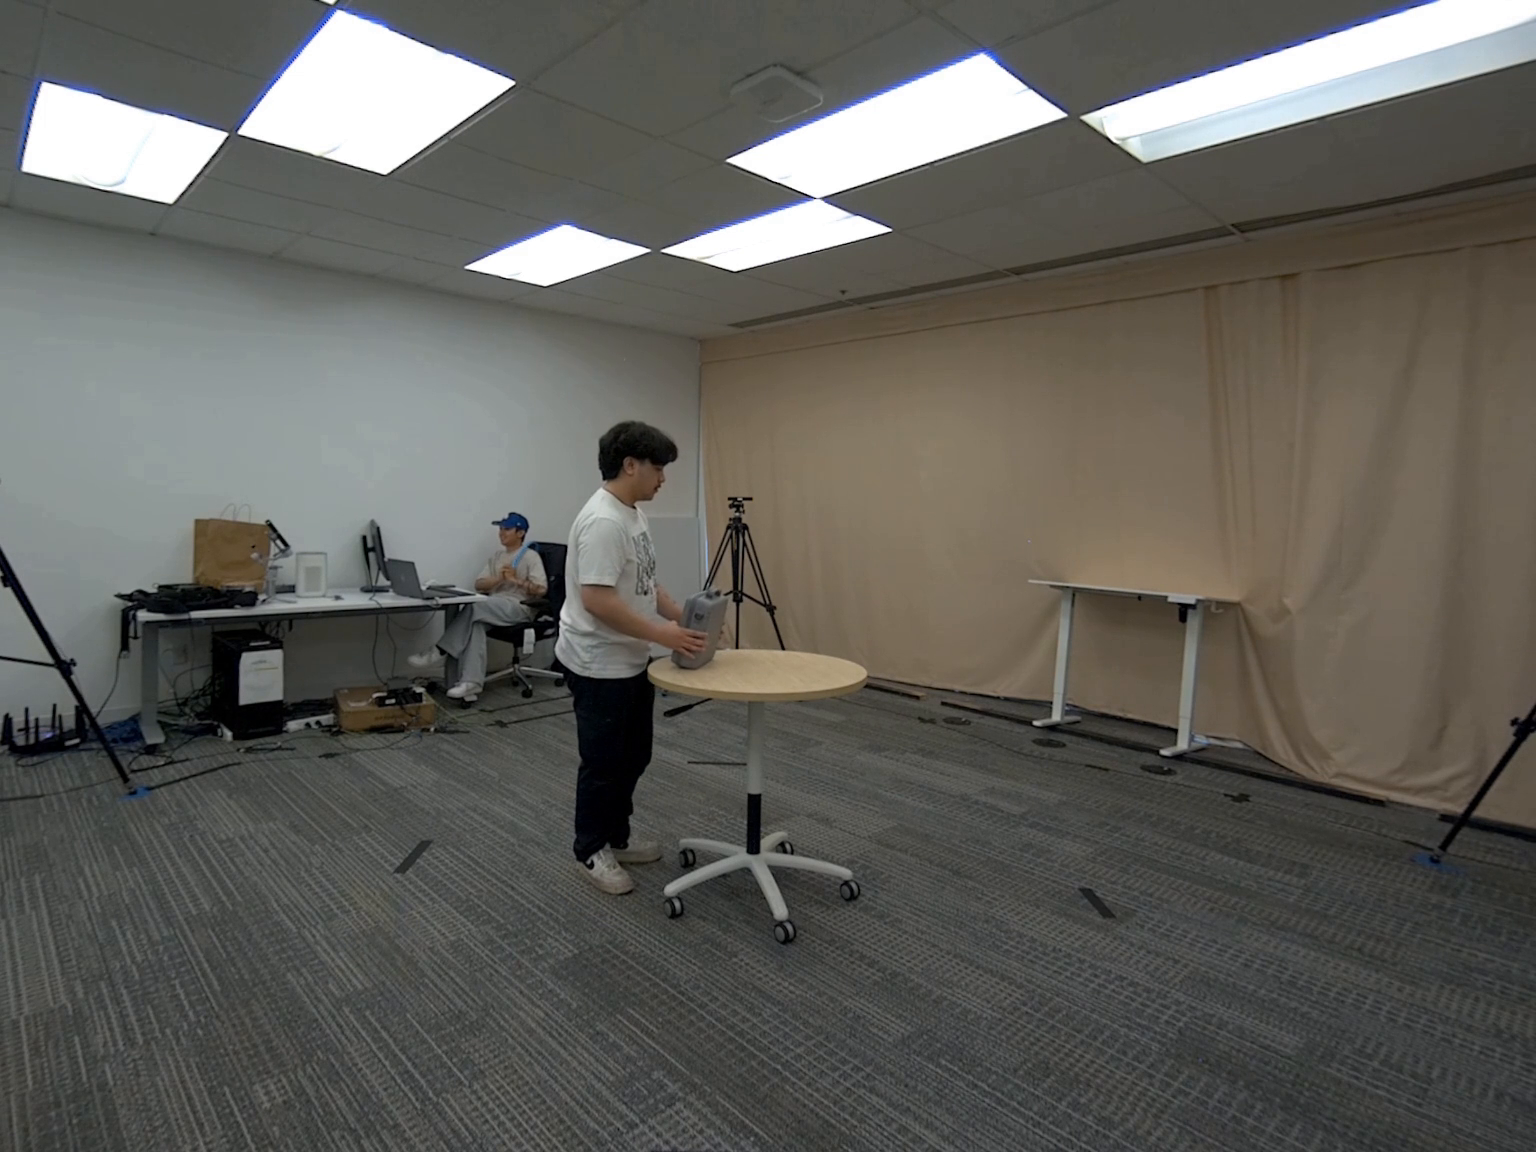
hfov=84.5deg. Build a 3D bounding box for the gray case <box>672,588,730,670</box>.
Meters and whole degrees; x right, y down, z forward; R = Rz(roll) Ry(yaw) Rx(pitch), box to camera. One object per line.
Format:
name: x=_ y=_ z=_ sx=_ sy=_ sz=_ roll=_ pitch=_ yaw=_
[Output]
gray case: x=-0.245 y=0.185 z=3.009 sx=0.105 sy=0.259 sz=0.255 roll=14 pitch=7 yaw=11
